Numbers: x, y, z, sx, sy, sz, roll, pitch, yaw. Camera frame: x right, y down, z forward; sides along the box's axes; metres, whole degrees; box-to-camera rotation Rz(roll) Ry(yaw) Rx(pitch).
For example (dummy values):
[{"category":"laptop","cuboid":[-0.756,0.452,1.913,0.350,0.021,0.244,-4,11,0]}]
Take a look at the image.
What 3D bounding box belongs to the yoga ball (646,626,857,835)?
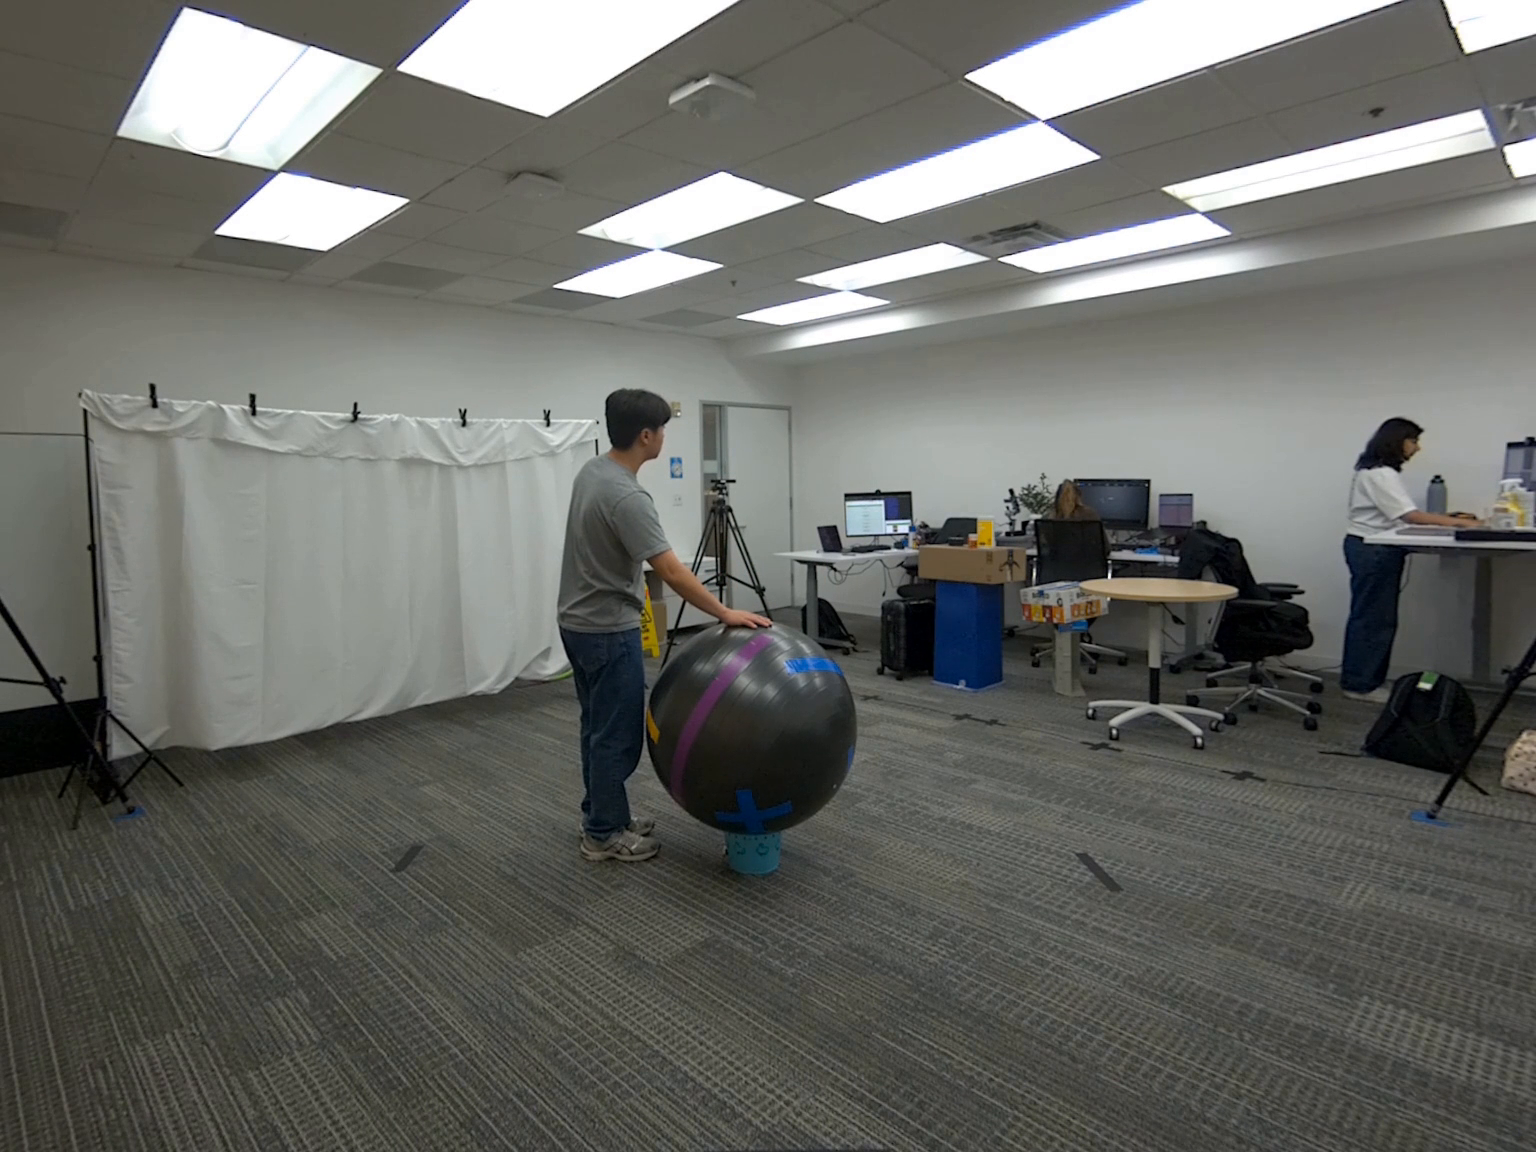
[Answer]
[{"category":"yoga ball","cuboid":[-0.059,0.535,3.084,0.757,0.755,0.762,-1,5,-2]}]
